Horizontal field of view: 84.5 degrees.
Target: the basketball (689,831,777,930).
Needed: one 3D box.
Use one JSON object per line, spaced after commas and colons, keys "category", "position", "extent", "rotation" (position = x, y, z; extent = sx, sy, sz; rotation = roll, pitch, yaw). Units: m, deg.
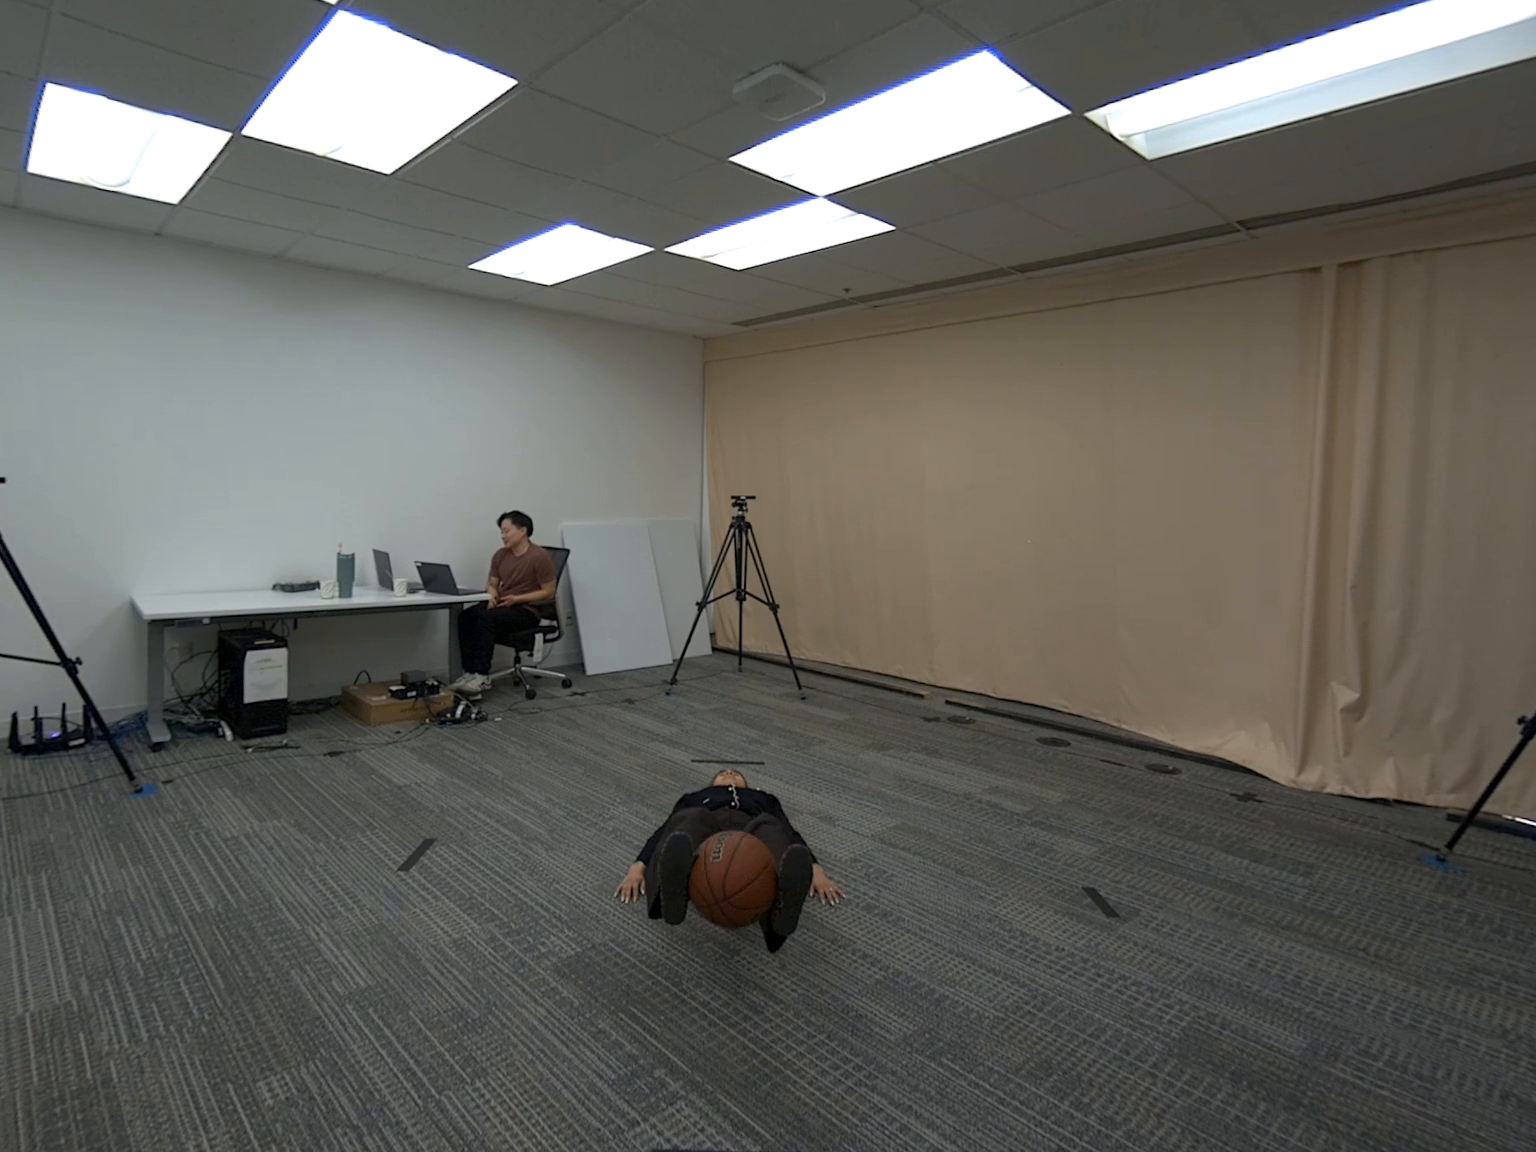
{"category": "basketball", "position": [-0.098, 0.784, 2.180], "extent": [0.235, 0.235, 0.237], "rotation": [4, 5, -2]}
